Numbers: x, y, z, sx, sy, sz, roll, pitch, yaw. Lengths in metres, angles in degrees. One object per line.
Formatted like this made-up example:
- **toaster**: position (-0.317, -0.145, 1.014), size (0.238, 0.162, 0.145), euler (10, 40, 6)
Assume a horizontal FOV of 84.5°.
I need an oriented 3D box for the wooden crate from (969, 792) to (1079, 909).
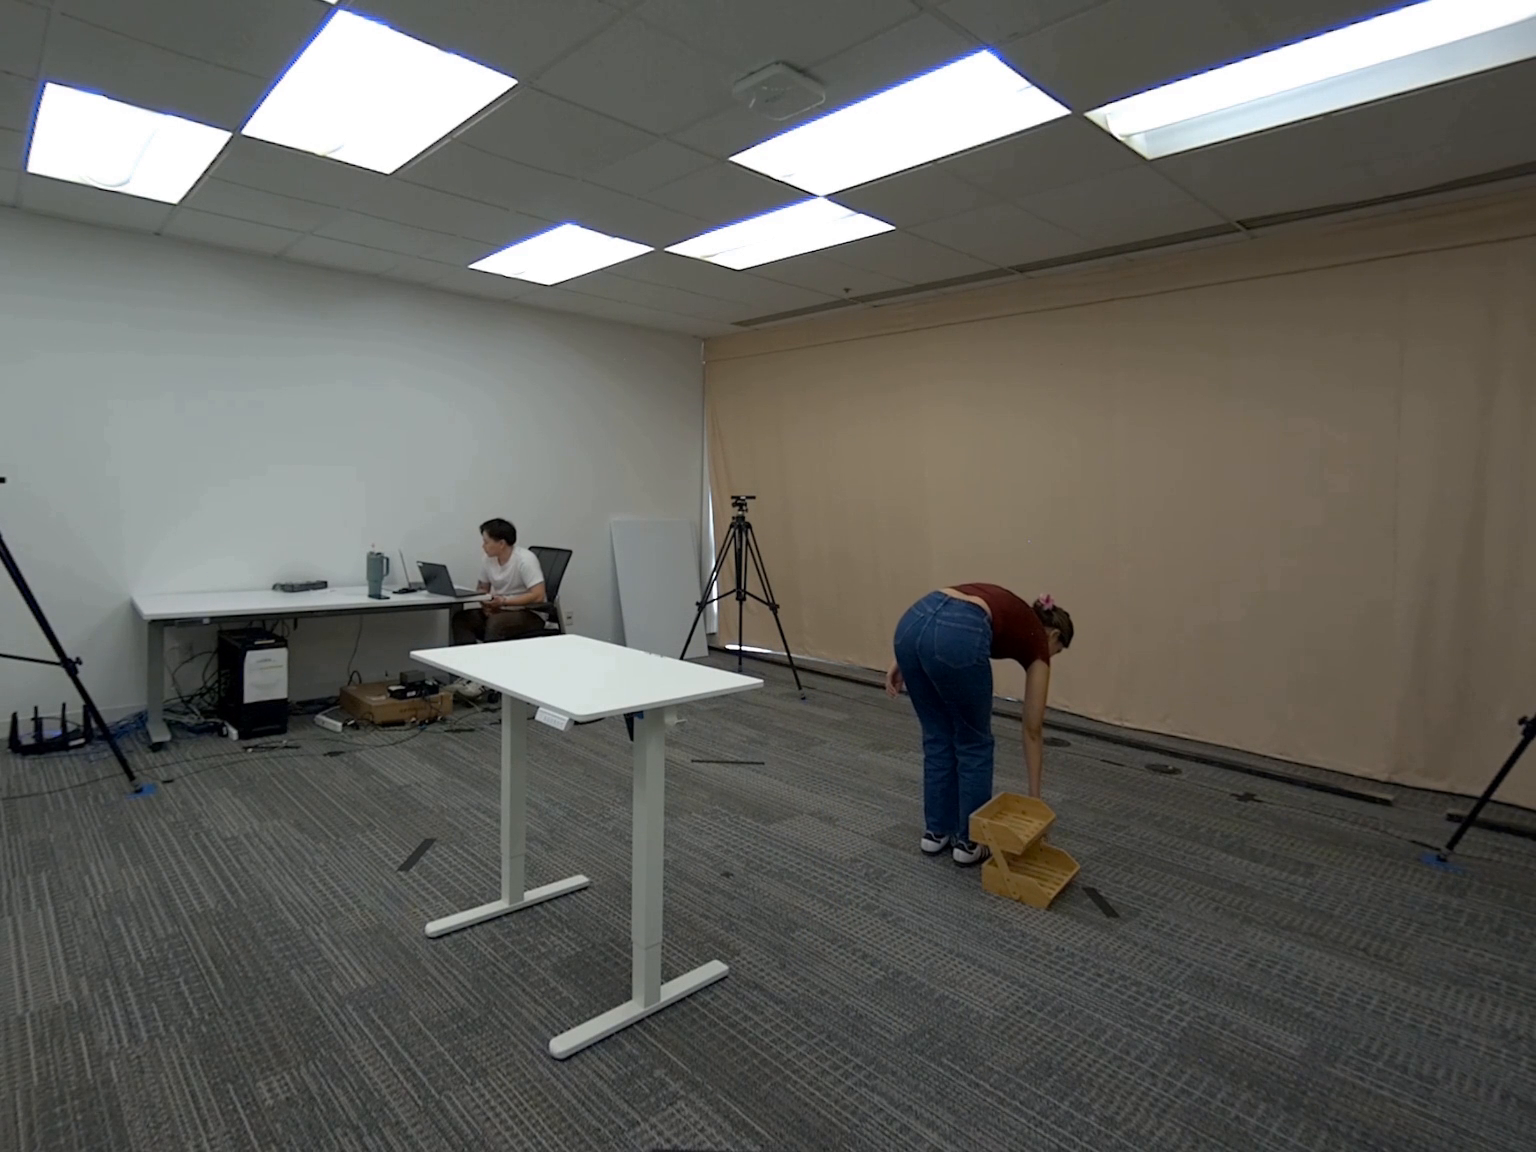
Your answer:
- **wooden crate**: position (0.937, 0.990, 3.077), size (0.309, 0.272, 0.318), euler (4, 8, 40)
